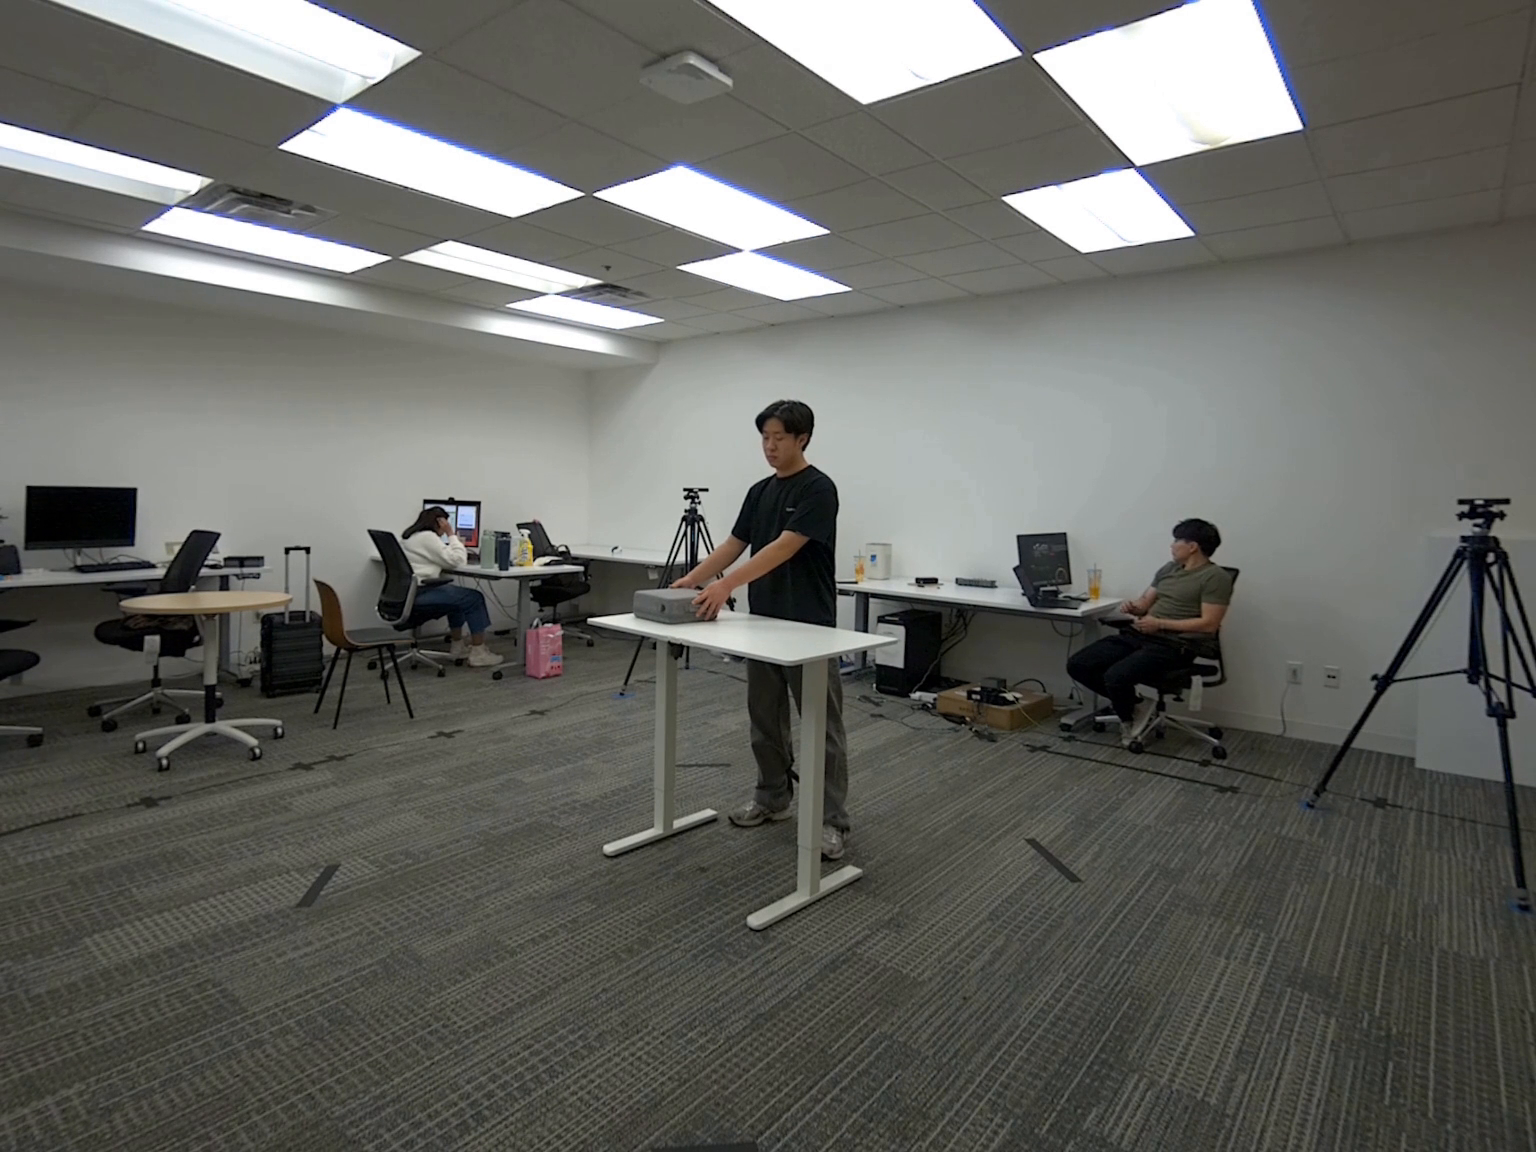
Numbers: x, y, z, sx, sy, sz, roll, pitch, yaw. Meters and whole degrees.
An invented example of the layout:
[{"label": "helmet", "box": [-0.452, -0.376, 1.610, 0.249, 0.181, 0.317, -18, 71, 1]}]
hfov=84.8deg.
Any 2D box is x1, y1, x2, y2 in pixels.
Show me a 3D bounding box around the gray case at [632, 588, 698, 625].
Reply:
[{"label": "gray case", "box": [-0.371, 0.113, 3.284, 0.255, 0.102, 0.297, -3, 7, -41]}]
